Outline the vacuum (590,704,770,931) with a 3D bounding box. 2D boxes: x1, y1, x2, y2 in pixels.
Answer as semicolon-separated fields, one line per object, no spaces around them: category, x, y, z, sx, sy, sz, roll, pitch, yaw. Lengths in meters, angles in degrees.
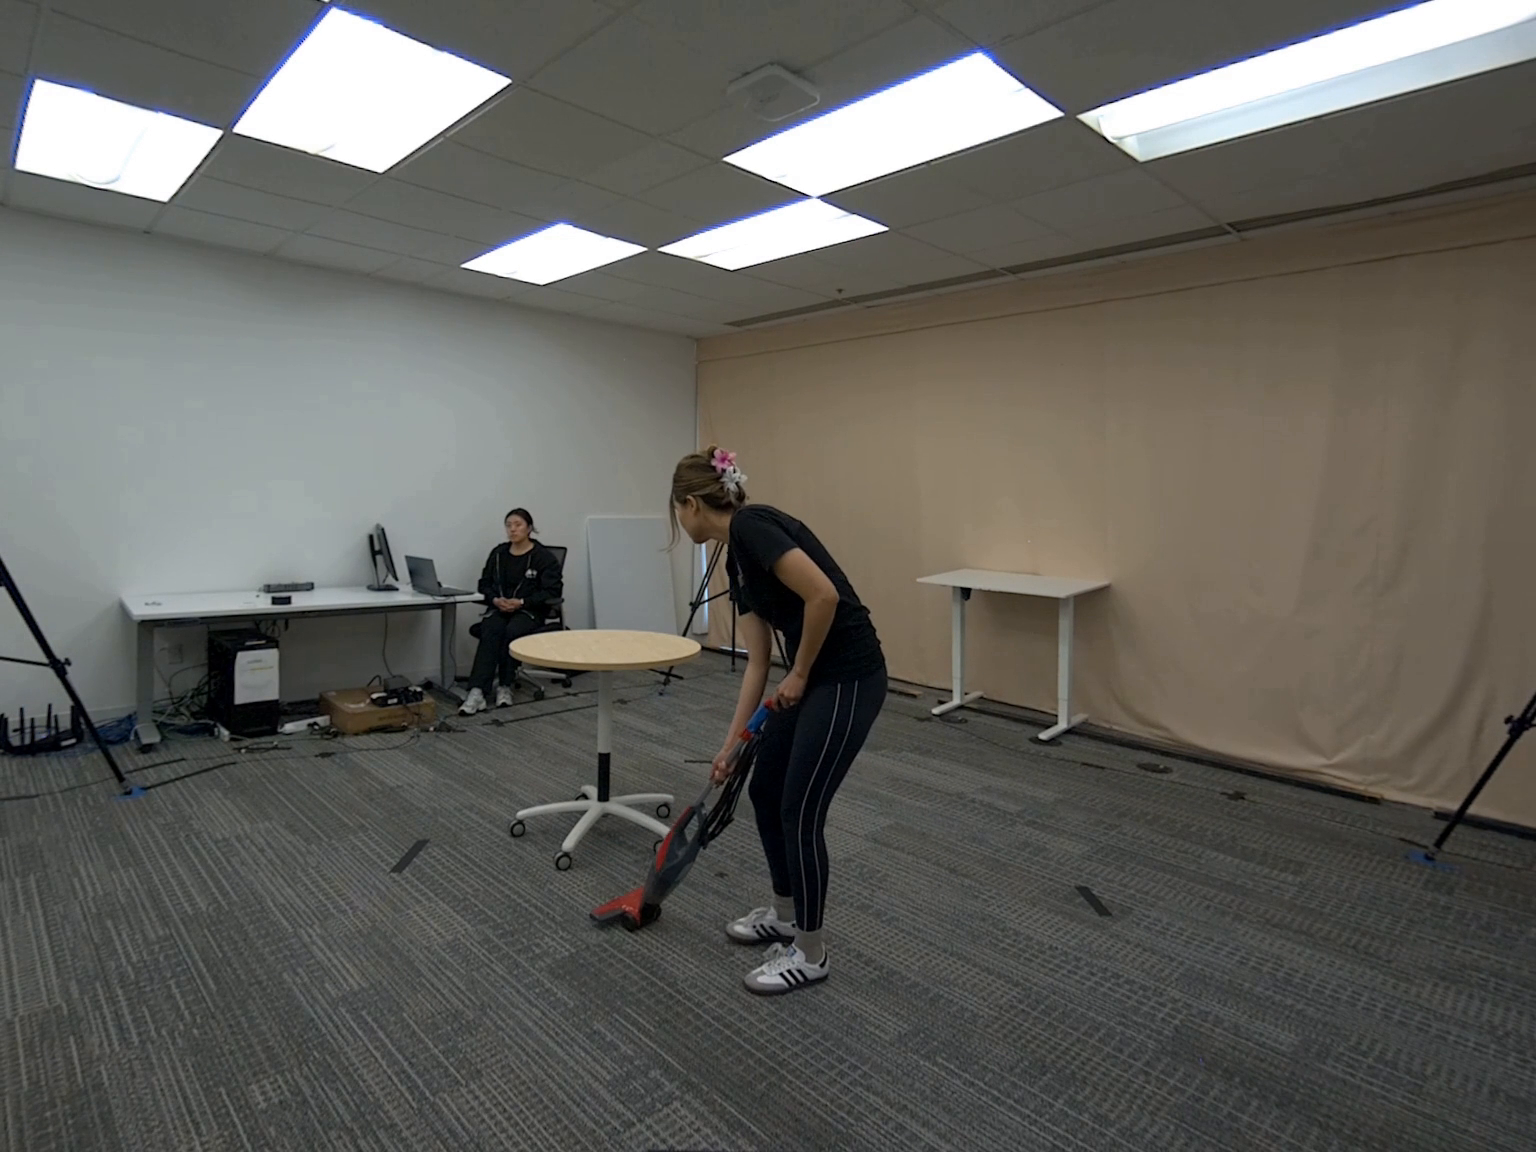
vacuum;-0.214;0.724;2.554;0.147;1.044;0.247;45;27;24
